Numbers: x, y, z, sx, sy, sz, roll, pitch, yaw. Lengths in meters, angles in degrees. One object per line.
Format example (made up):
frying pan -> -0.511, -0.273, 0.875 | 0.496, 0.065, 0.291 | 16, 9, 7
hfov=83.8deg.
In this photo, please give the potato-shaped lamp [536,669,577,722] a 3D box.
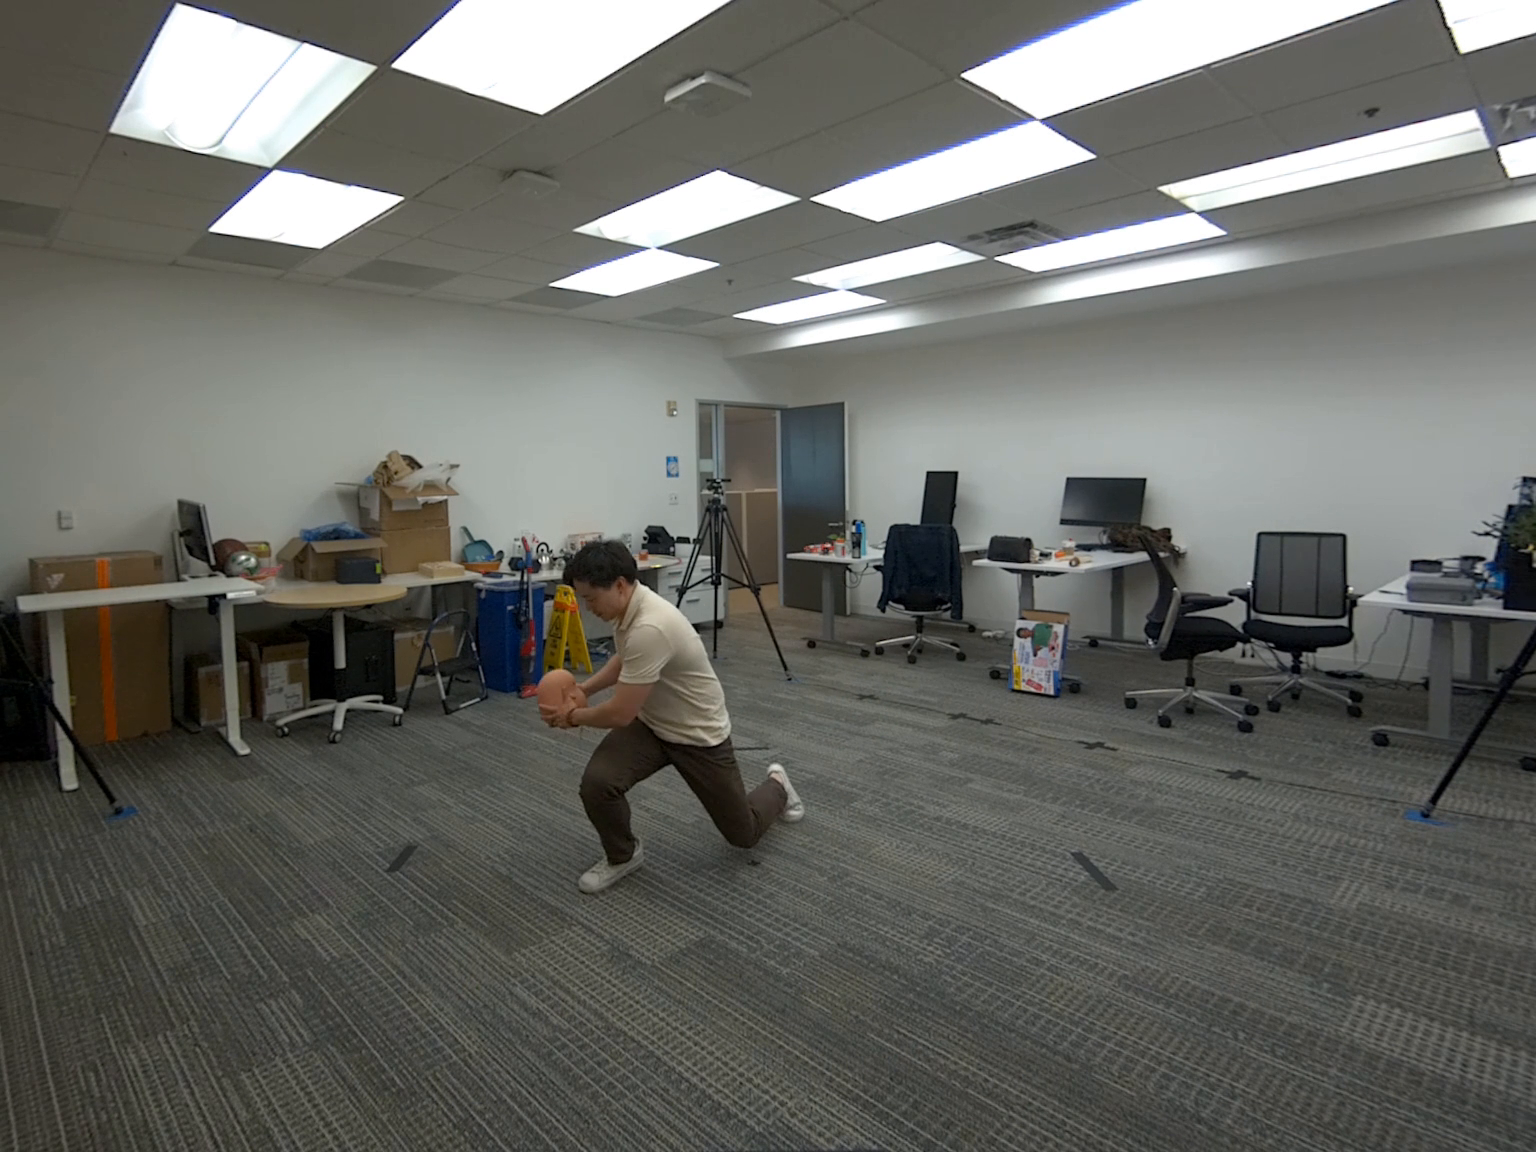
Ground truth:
potato-shaped lamp -> -0.720, 0.428, 3.058 | 0.171, 0.197, 0.165 | -14, 5, 1
